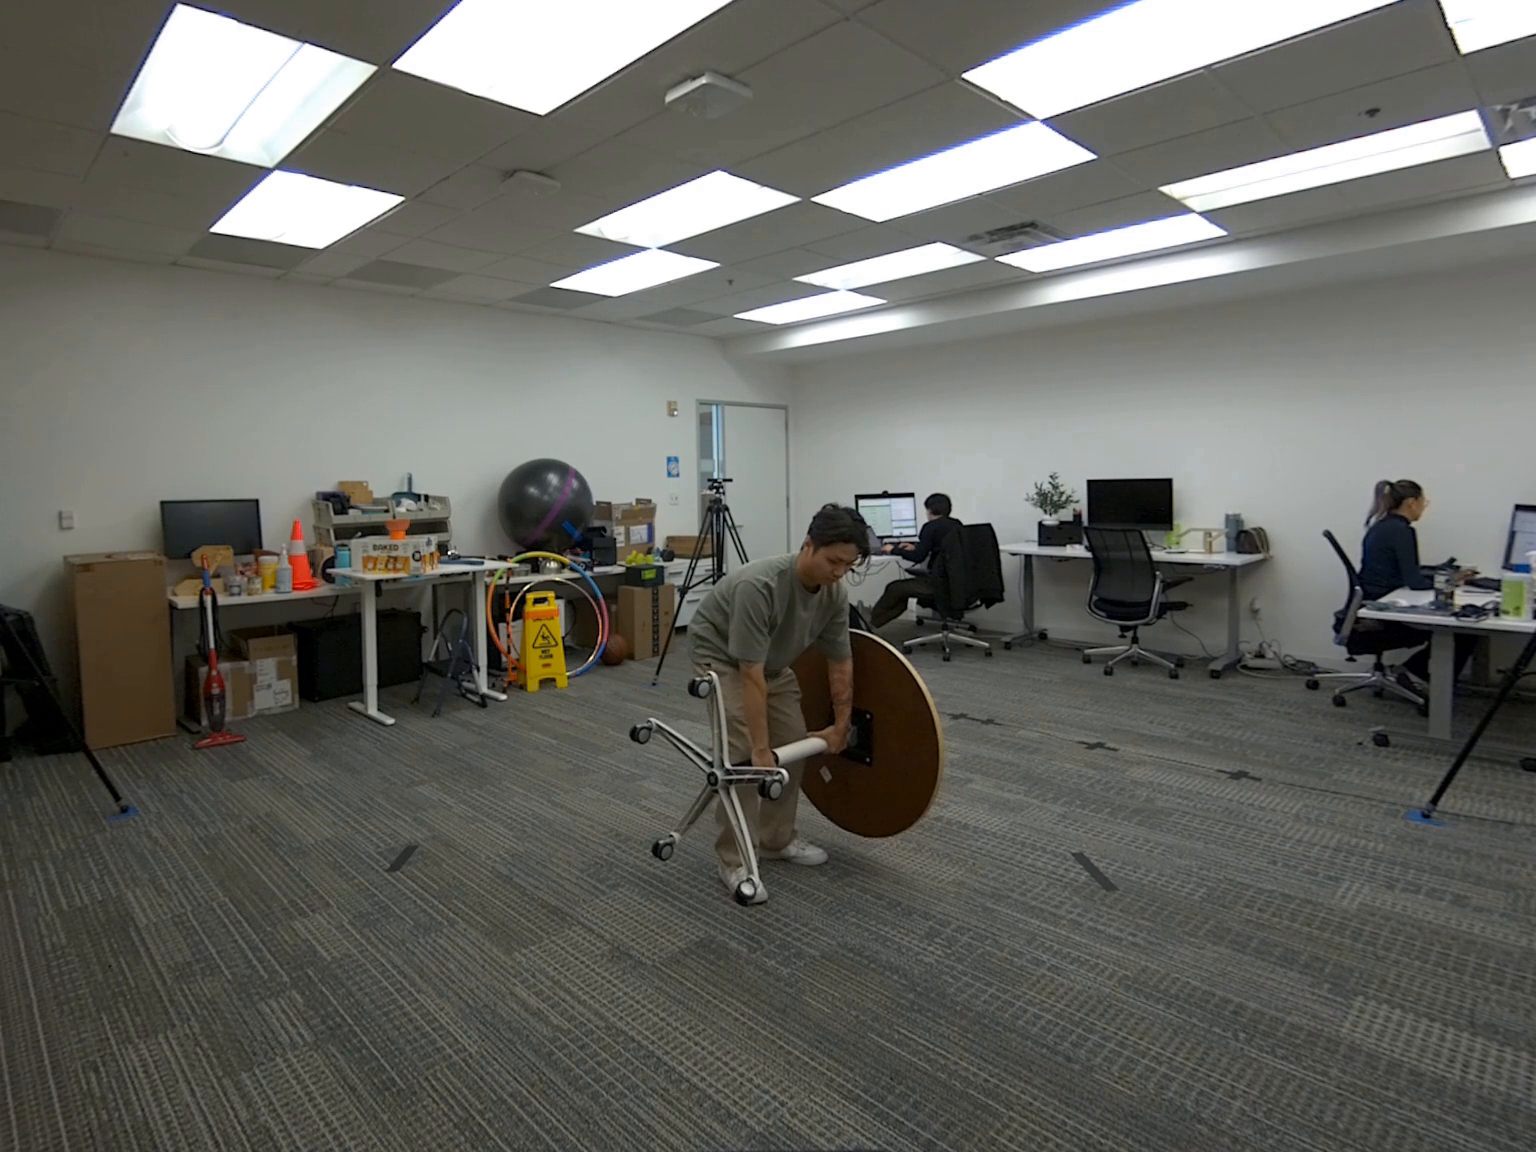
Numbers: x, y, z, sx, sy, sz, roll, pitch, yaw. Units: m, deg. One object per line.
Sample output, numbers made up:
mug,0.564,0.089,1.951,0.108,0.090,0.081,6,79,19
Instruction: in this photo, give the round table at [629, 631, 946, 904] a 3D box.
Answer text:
round table,0.055,0.622,2.916,0.766,0.781,0.809,-7,8,-44
